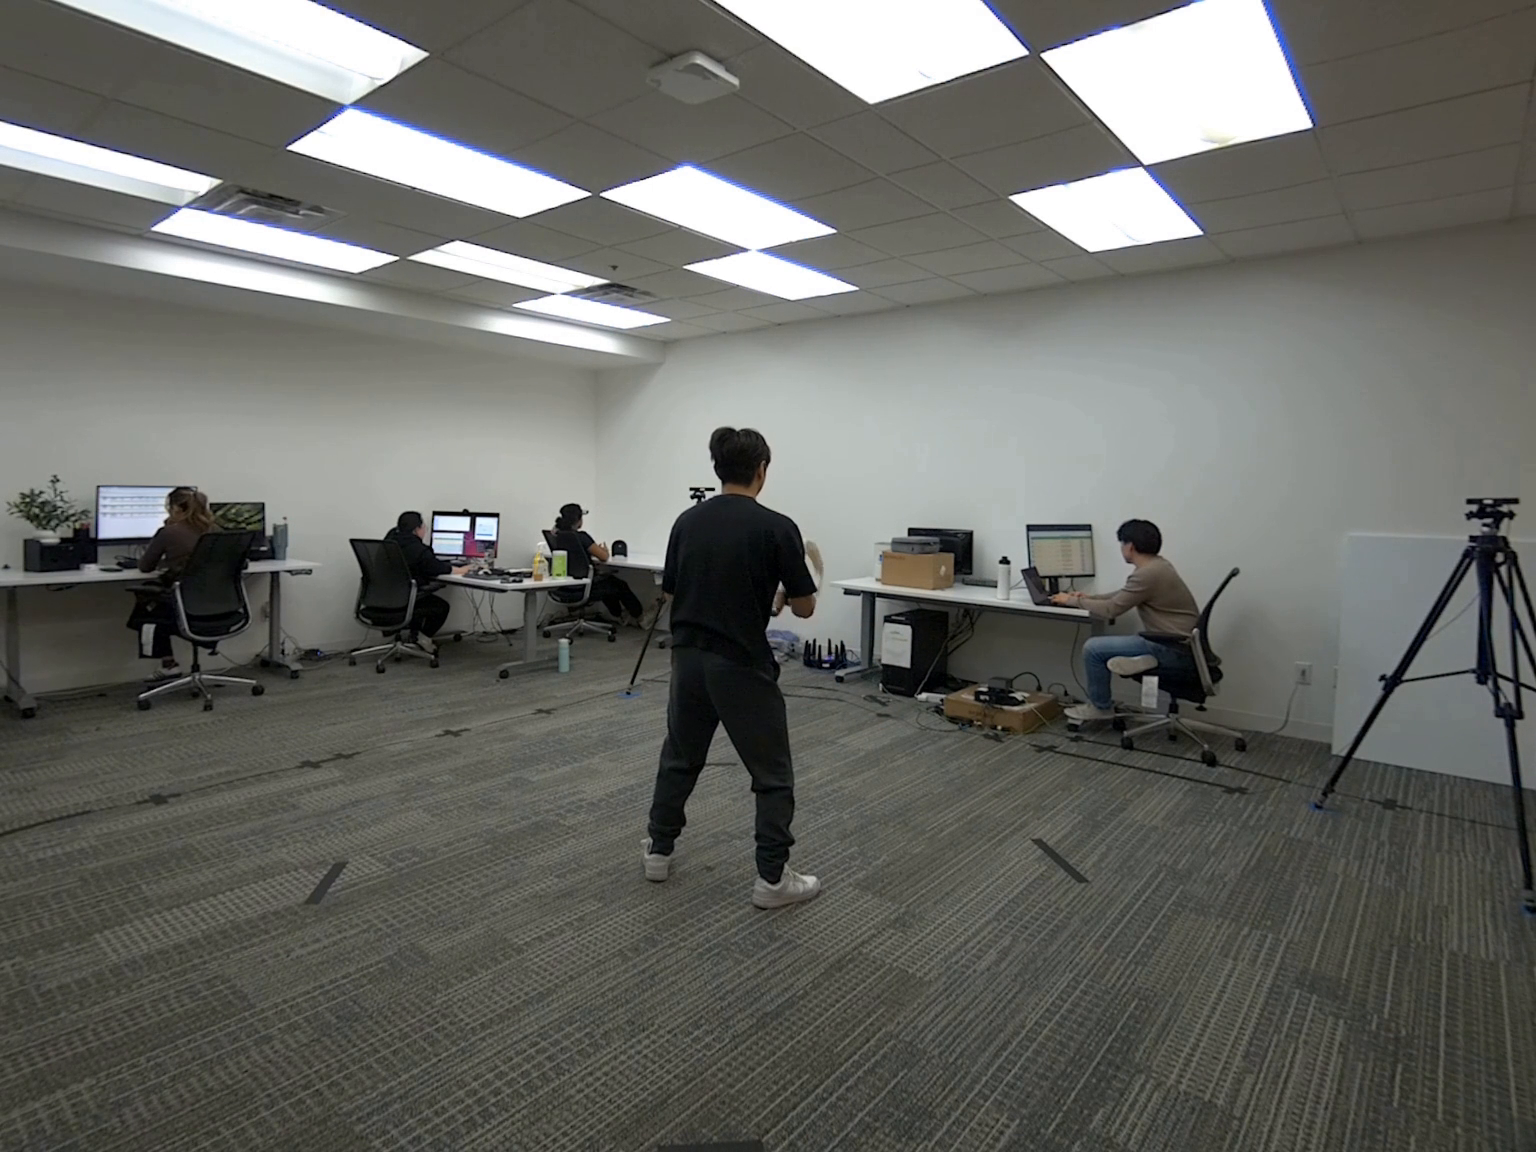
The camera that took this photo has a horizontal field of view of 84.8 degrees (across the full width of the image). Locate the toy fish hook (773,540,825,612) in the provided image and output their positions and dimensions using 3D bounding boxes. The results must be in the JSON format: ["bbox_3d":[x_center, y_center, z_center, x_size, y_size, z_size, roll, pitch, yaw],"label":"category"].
[{"bbox_3d":[0.106,0.064,3.271,0.049,0.219,0.509,-17,24,32],"label":"toy fish hook"}]
